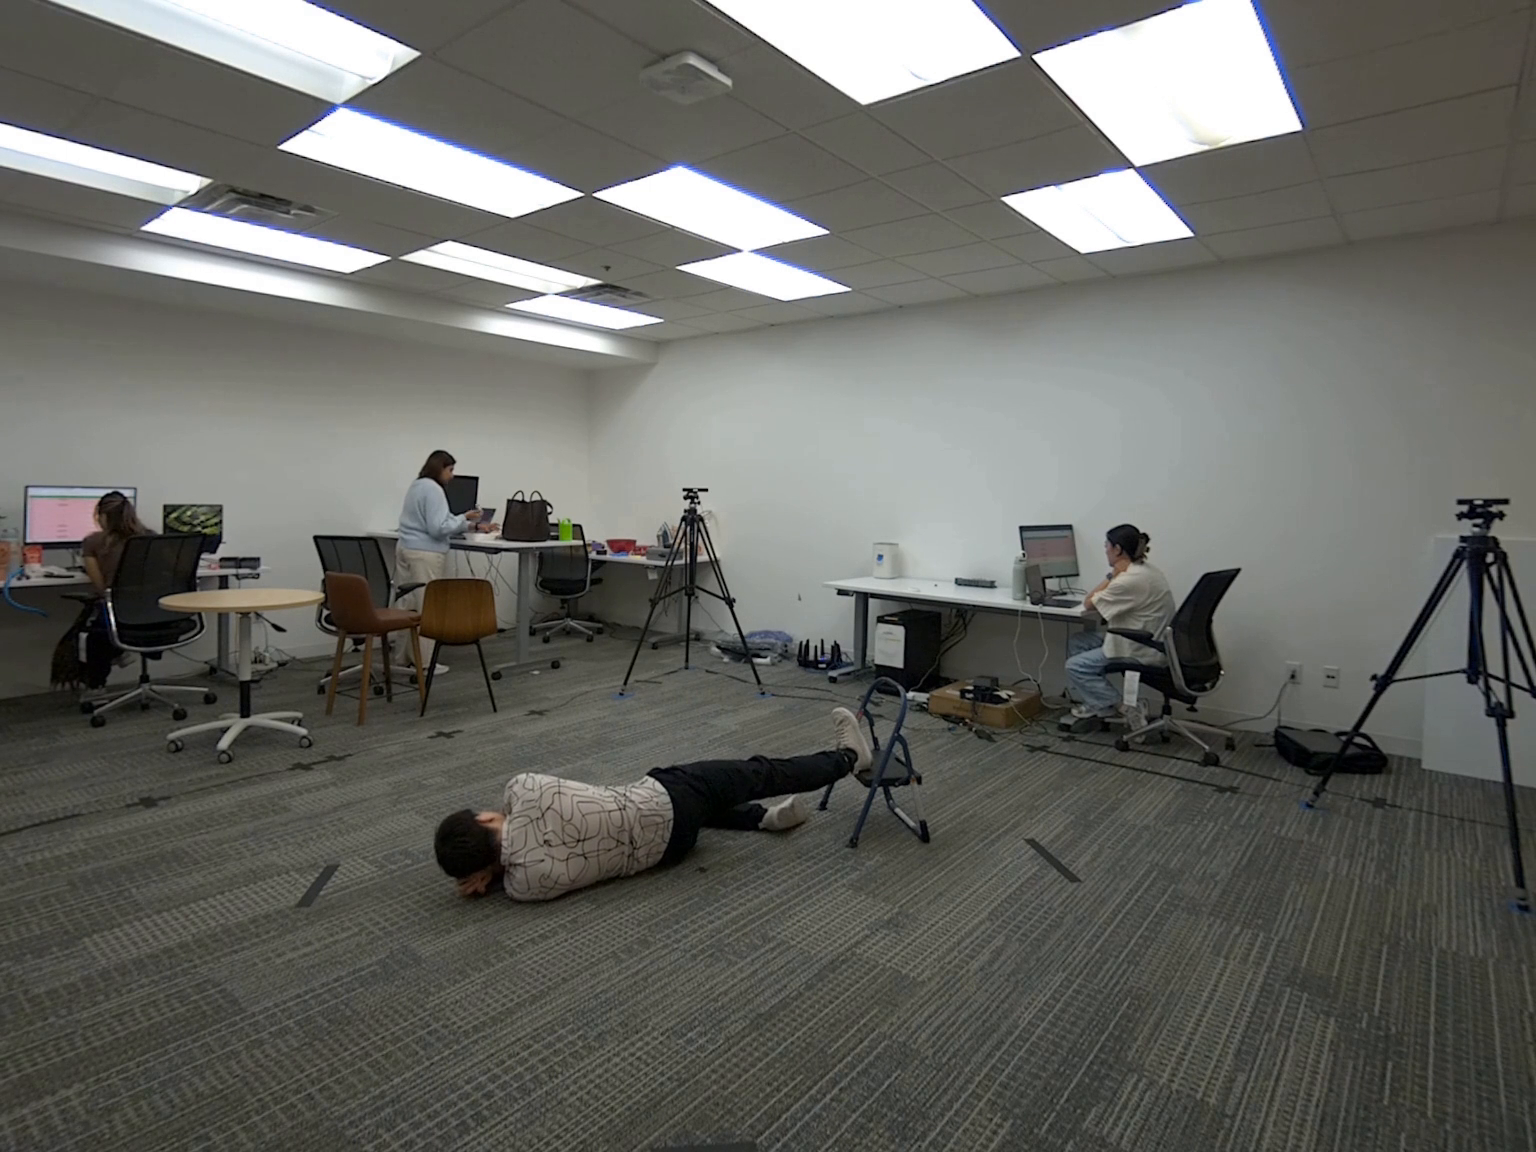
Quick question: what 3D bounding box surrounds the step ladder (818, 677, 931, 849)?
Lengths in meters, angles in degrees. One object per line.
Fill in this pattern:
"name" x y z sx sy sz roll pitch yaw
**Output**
"step ladder" 0.438 0.743 3.552 0.345 0.604 0.438 0 4 -14
